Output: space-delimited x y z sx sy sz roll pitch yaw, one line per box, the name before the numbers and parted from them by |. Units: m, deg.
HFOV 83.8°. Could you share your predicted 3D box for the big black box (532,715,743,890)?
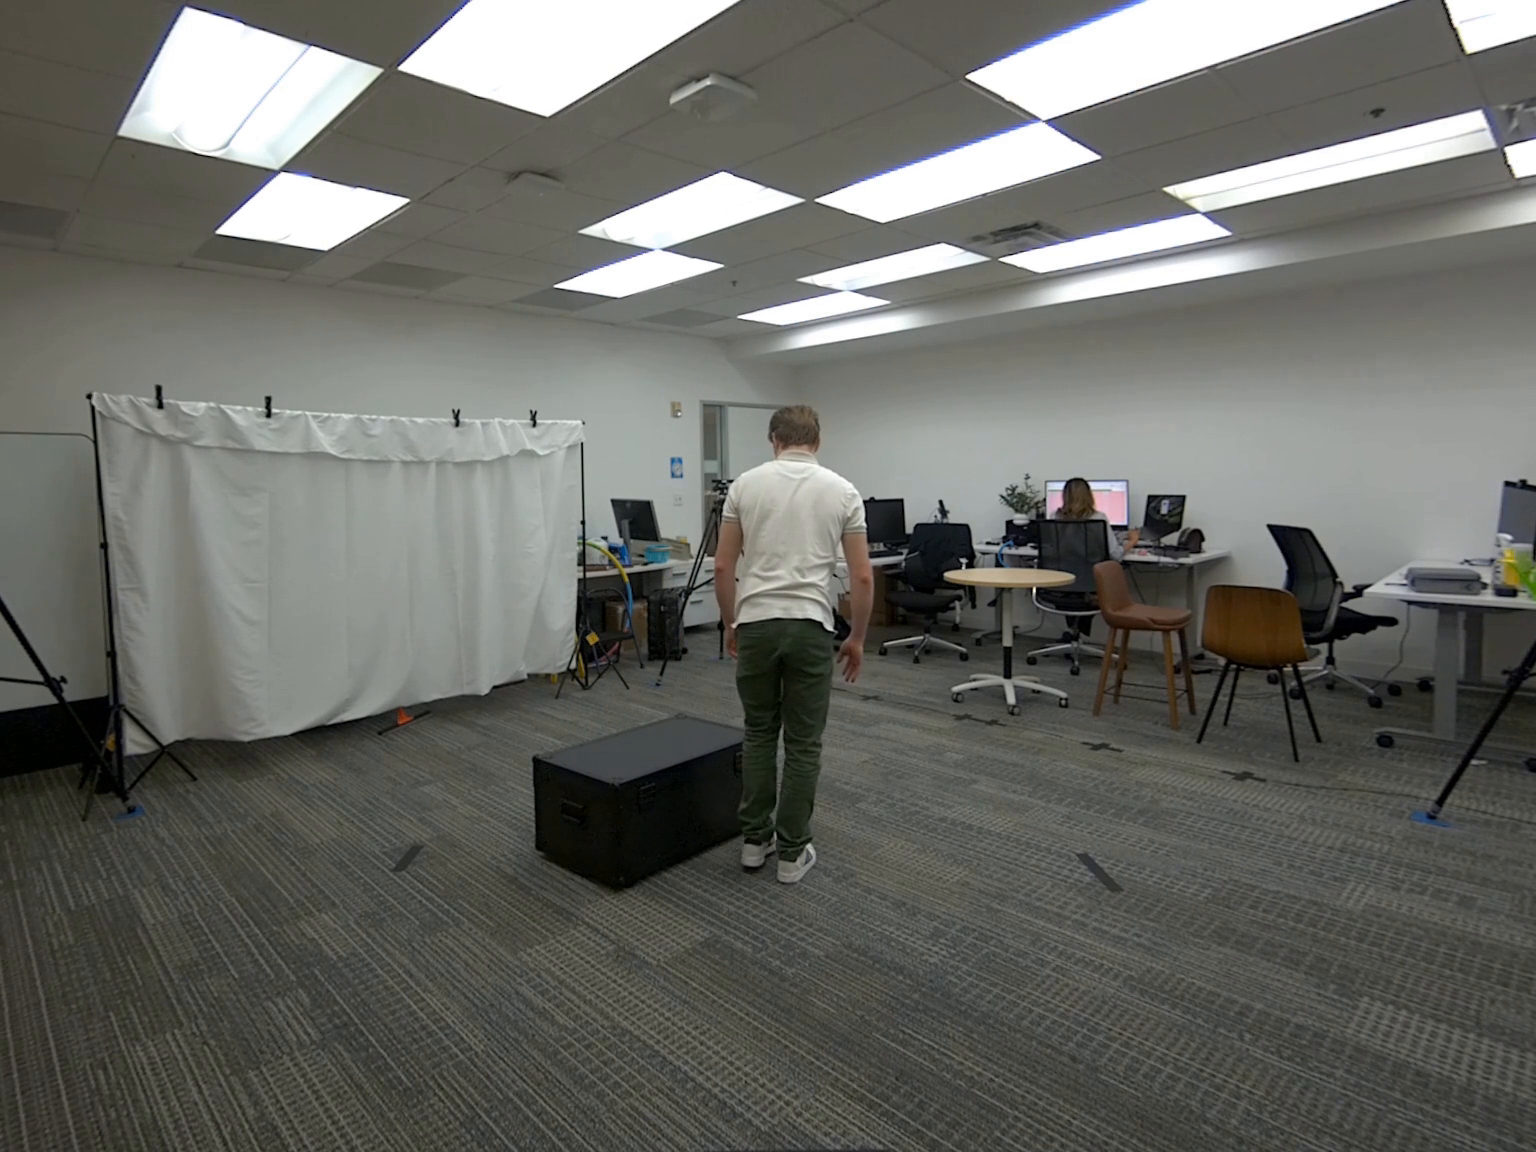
big black box | -0.415 0.832 3.346 0.539 0.384 0.846 2 6 41
